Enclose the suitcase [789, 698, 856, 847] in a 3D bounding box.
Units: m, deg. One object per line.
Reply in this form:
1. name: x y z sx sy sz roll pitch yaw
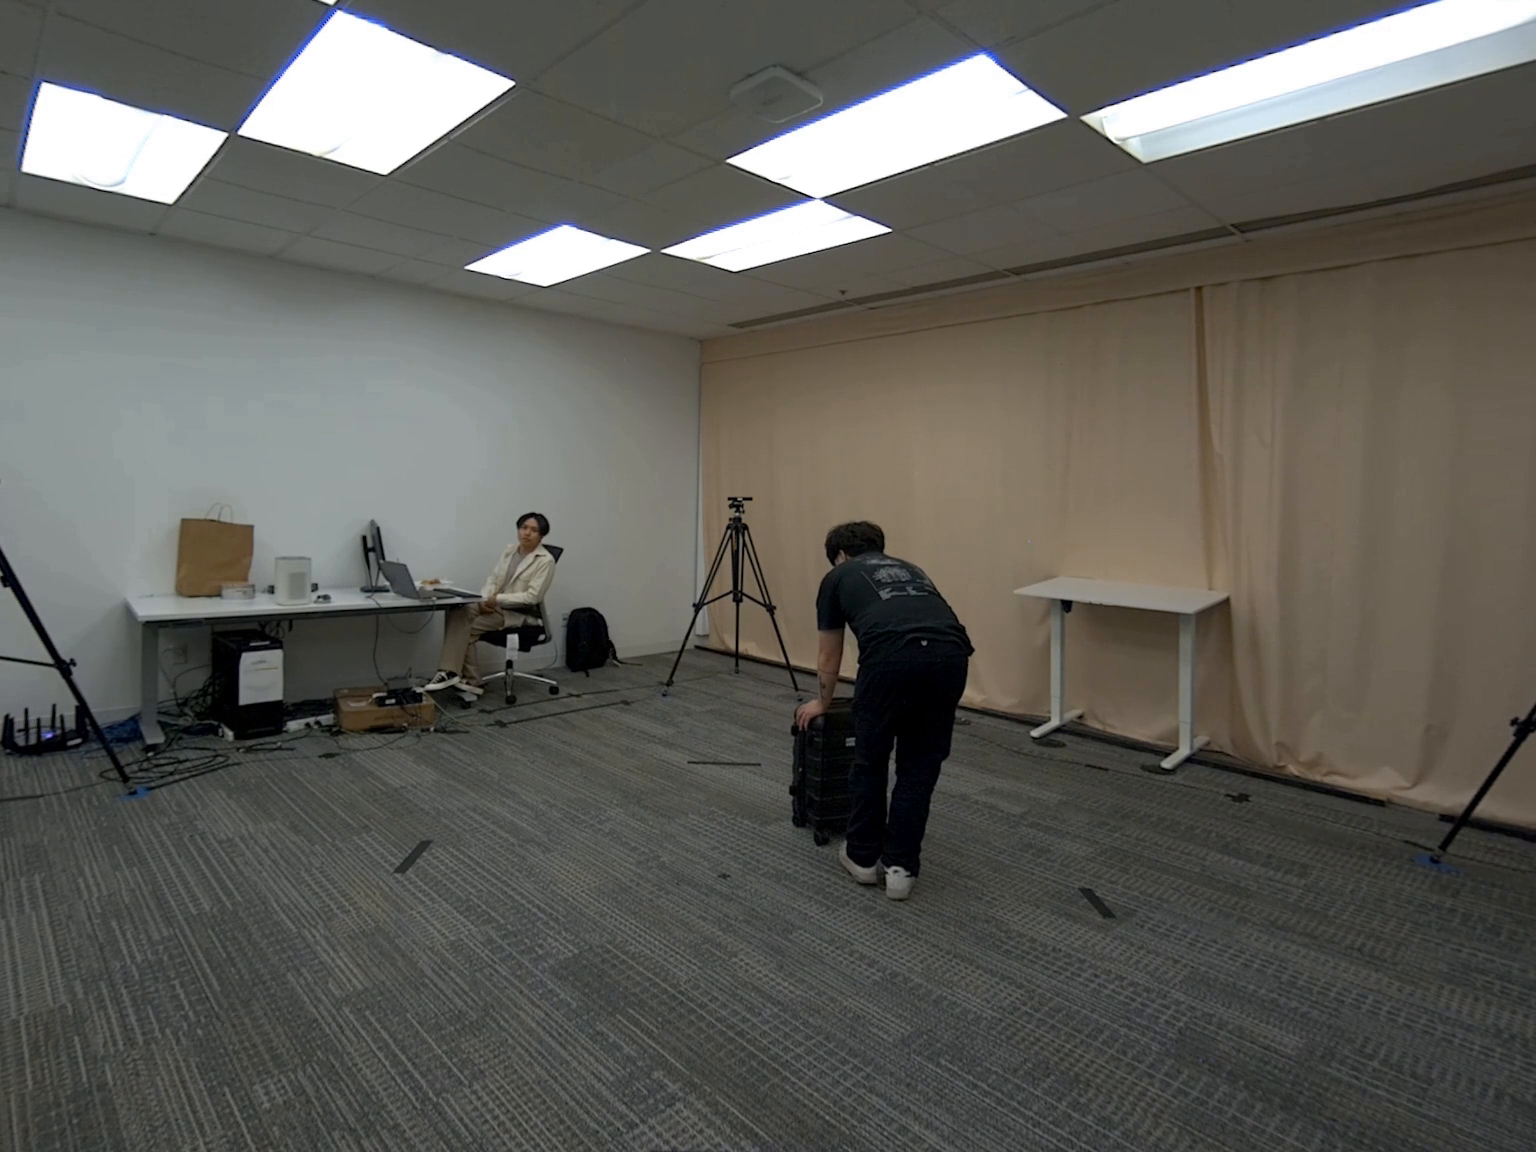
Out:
1. suitcase: 0.295 0.803 3.580 0.369 0.548 0.253 -1 2 -24
